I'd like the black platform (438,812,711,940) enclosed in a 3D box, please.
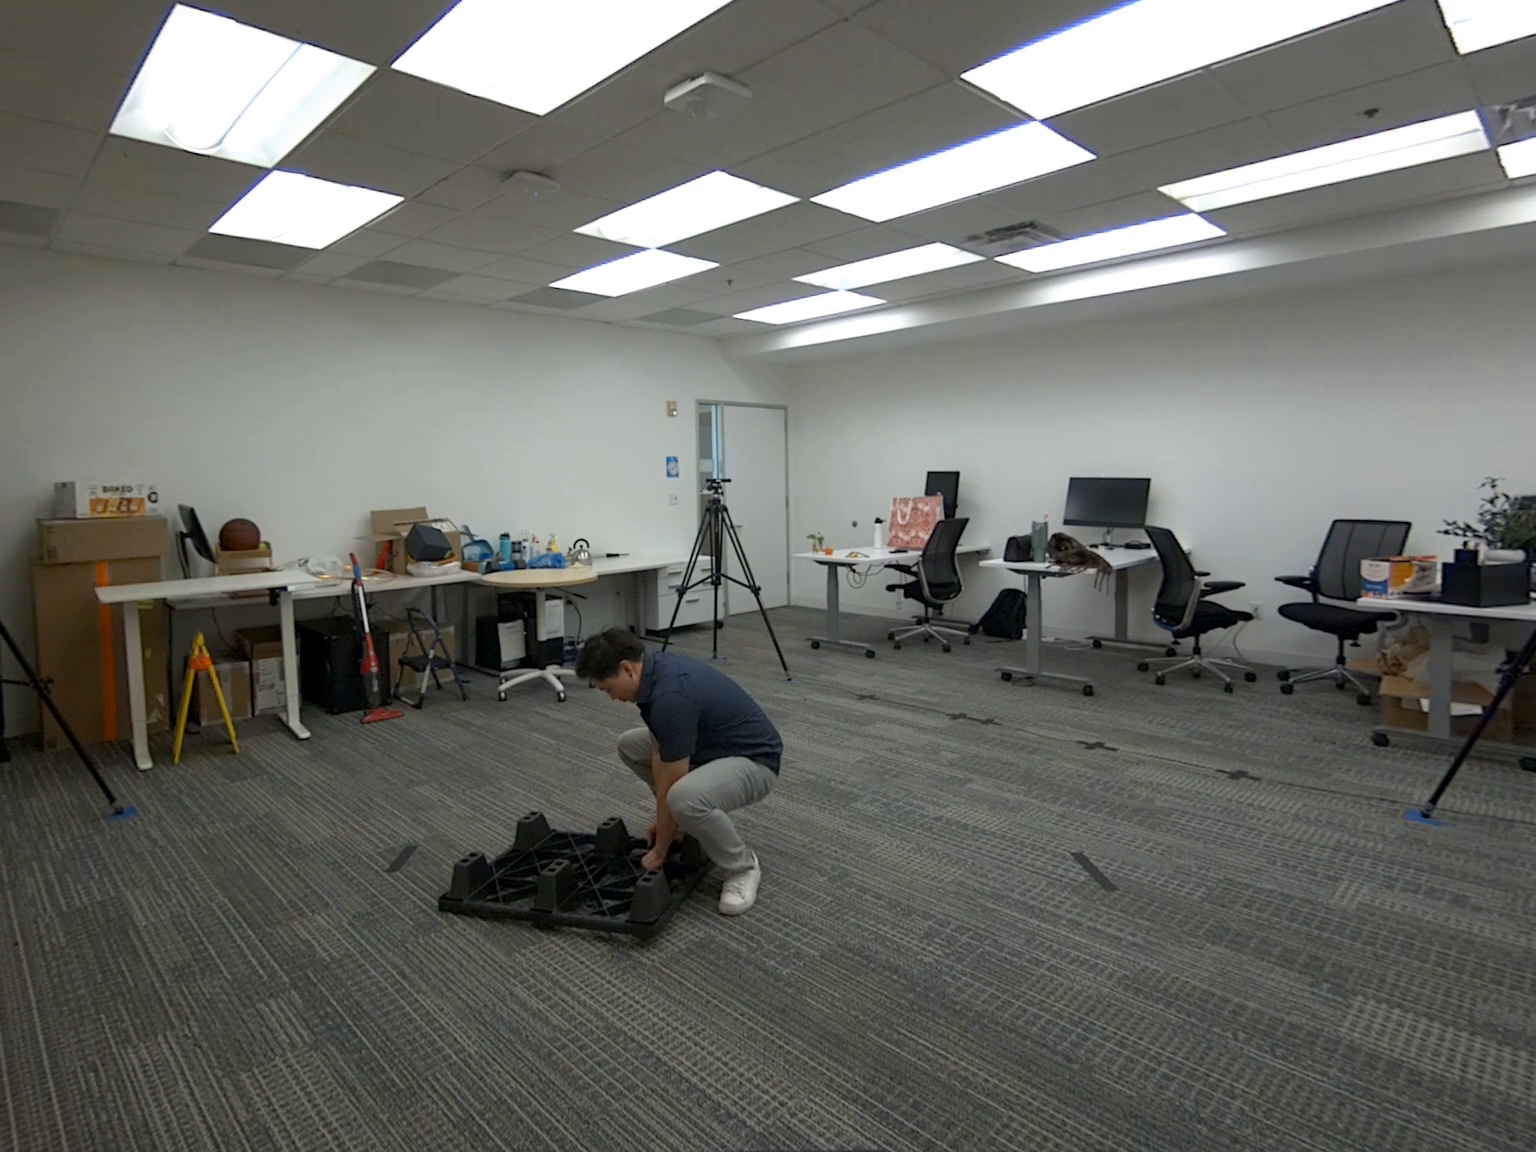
[{"bbox_3d":[-0.628,0.987,2.940,0.820,0.143,0.597,-2,6,20],"label":"black platform"}]
